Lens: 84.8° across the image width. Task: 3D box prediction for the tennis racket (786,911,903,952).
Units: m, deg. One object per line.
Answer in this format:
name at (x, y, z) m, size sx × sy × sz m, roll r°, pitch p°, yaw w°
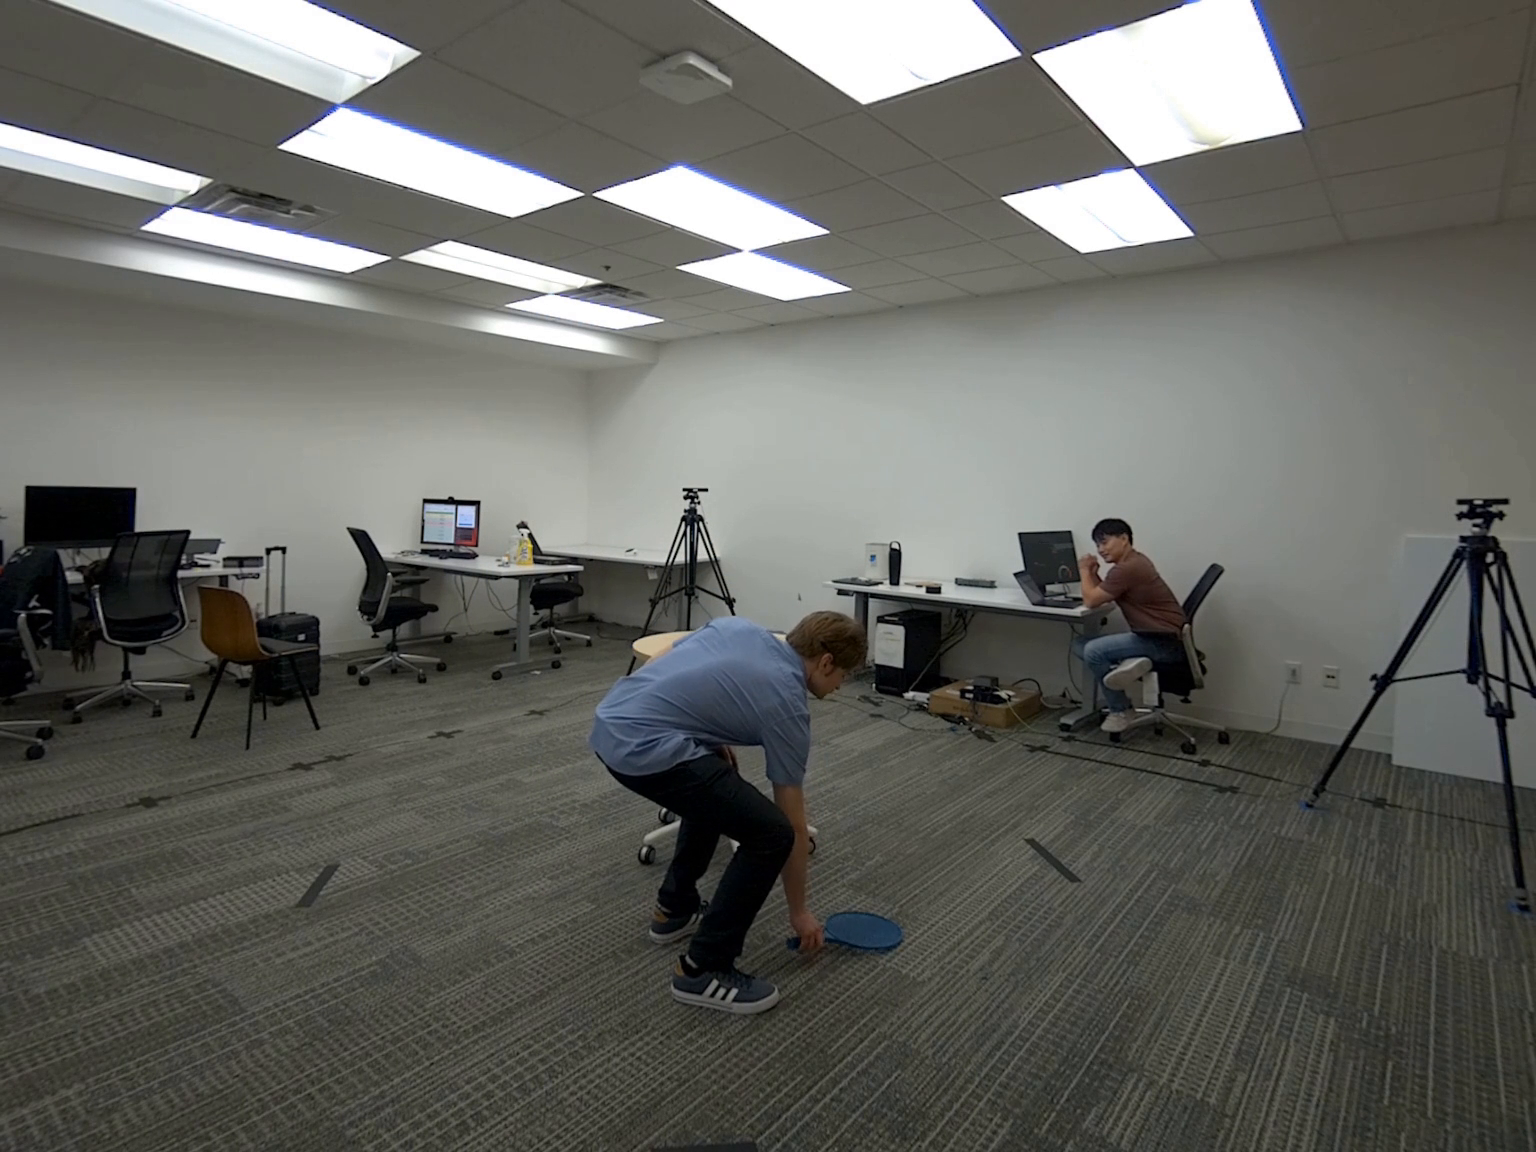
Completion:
tennis racket at (0.233, 1.094, 2.619) m, size 0.419 × 0.032 × 0.221 m, roll 6°, pitch 5°, yaw -34°
